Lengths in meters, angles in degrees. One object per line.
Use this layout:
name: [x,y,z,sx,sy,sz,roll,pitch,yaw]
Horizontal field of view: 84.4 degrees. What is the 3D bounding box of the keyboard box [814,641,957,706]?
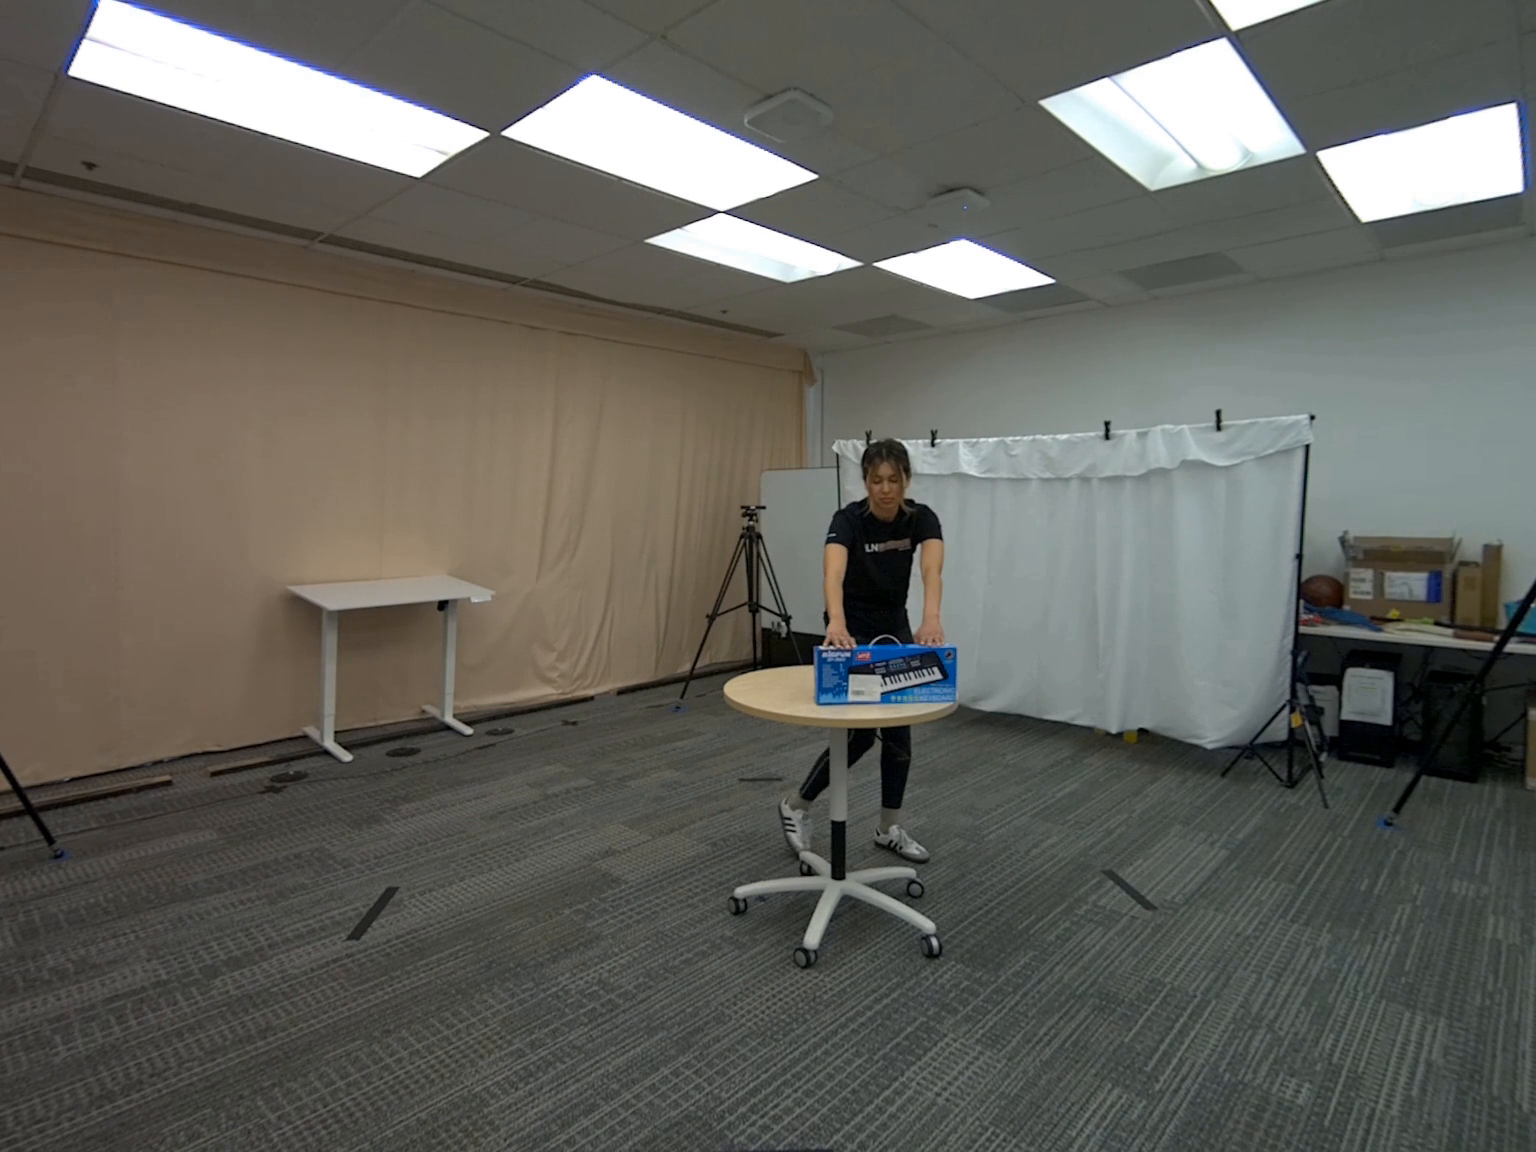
keyboard box: [0.363,0.305,2.612,0.434,0.175,0.059,-2,3,-5]
